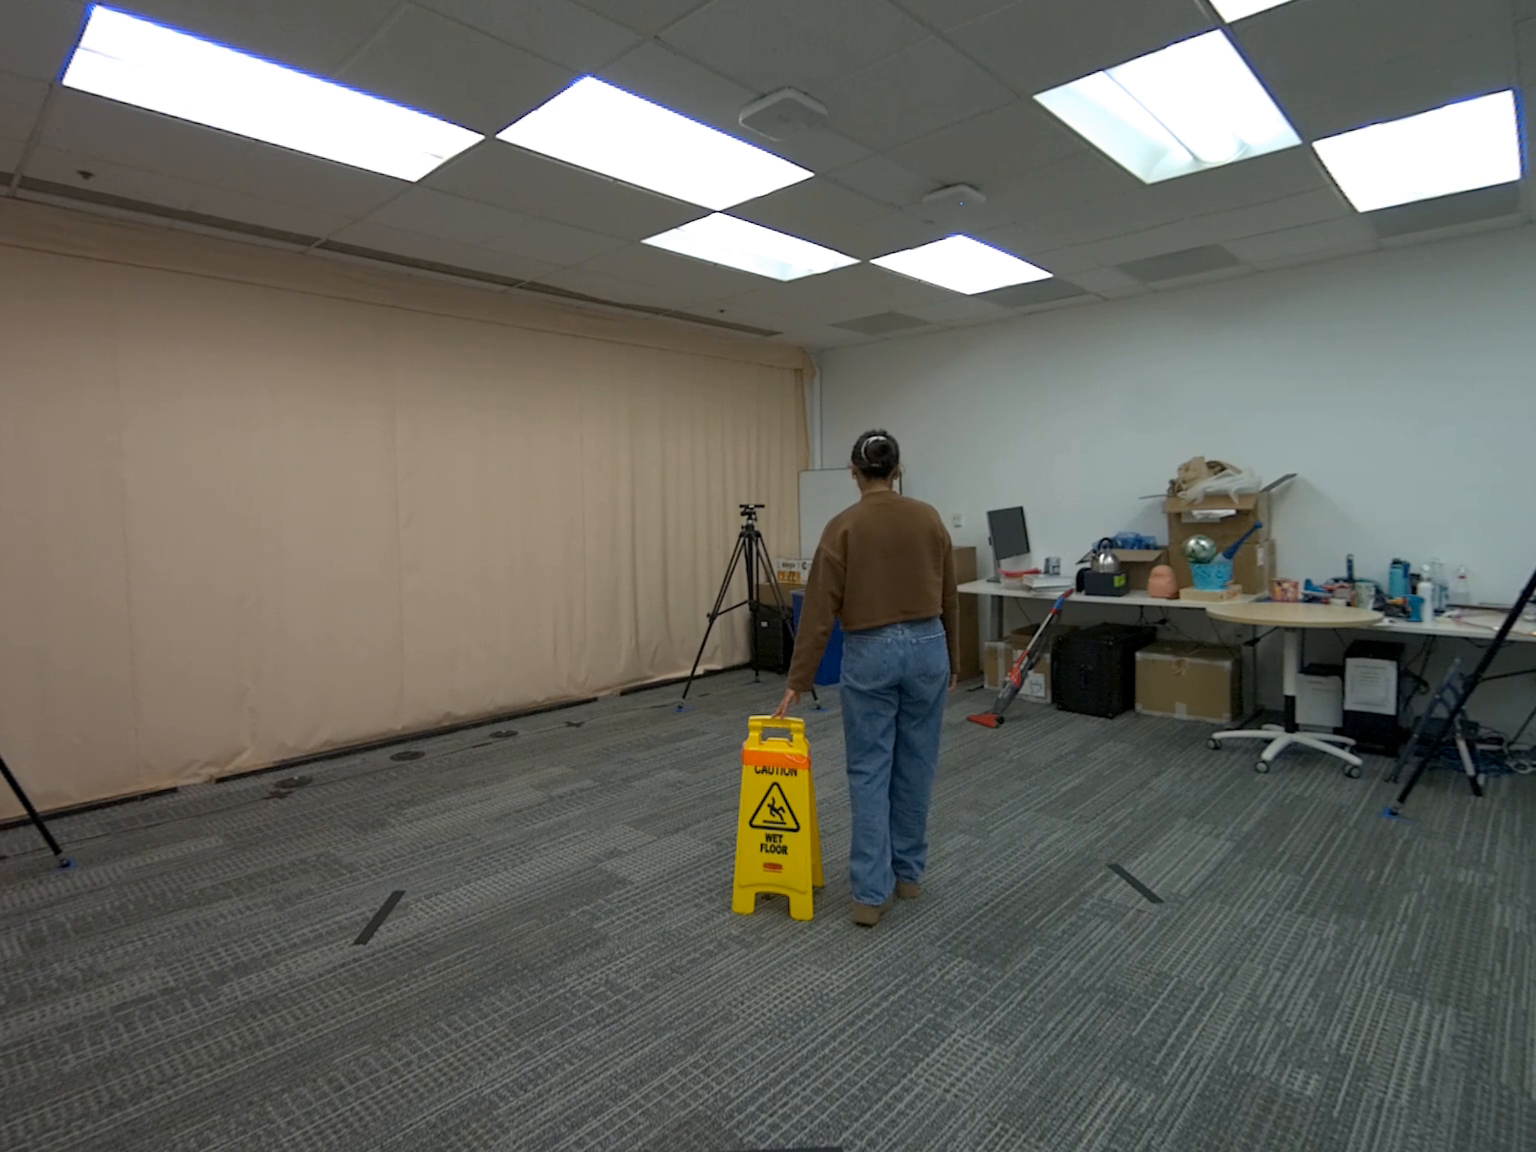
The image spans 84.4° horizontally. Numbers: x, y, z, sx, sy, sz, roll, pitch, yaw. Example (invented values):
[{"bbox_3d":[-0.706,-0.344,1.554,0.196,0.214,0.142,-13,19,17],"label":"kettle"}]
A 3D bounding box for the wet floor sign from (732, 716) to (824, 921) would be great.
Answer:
[{"bbox_3d":[0.039,0.819,2.971,0.286,0.645,0.286,1,3,13],"label":"wet floor sign"}]
